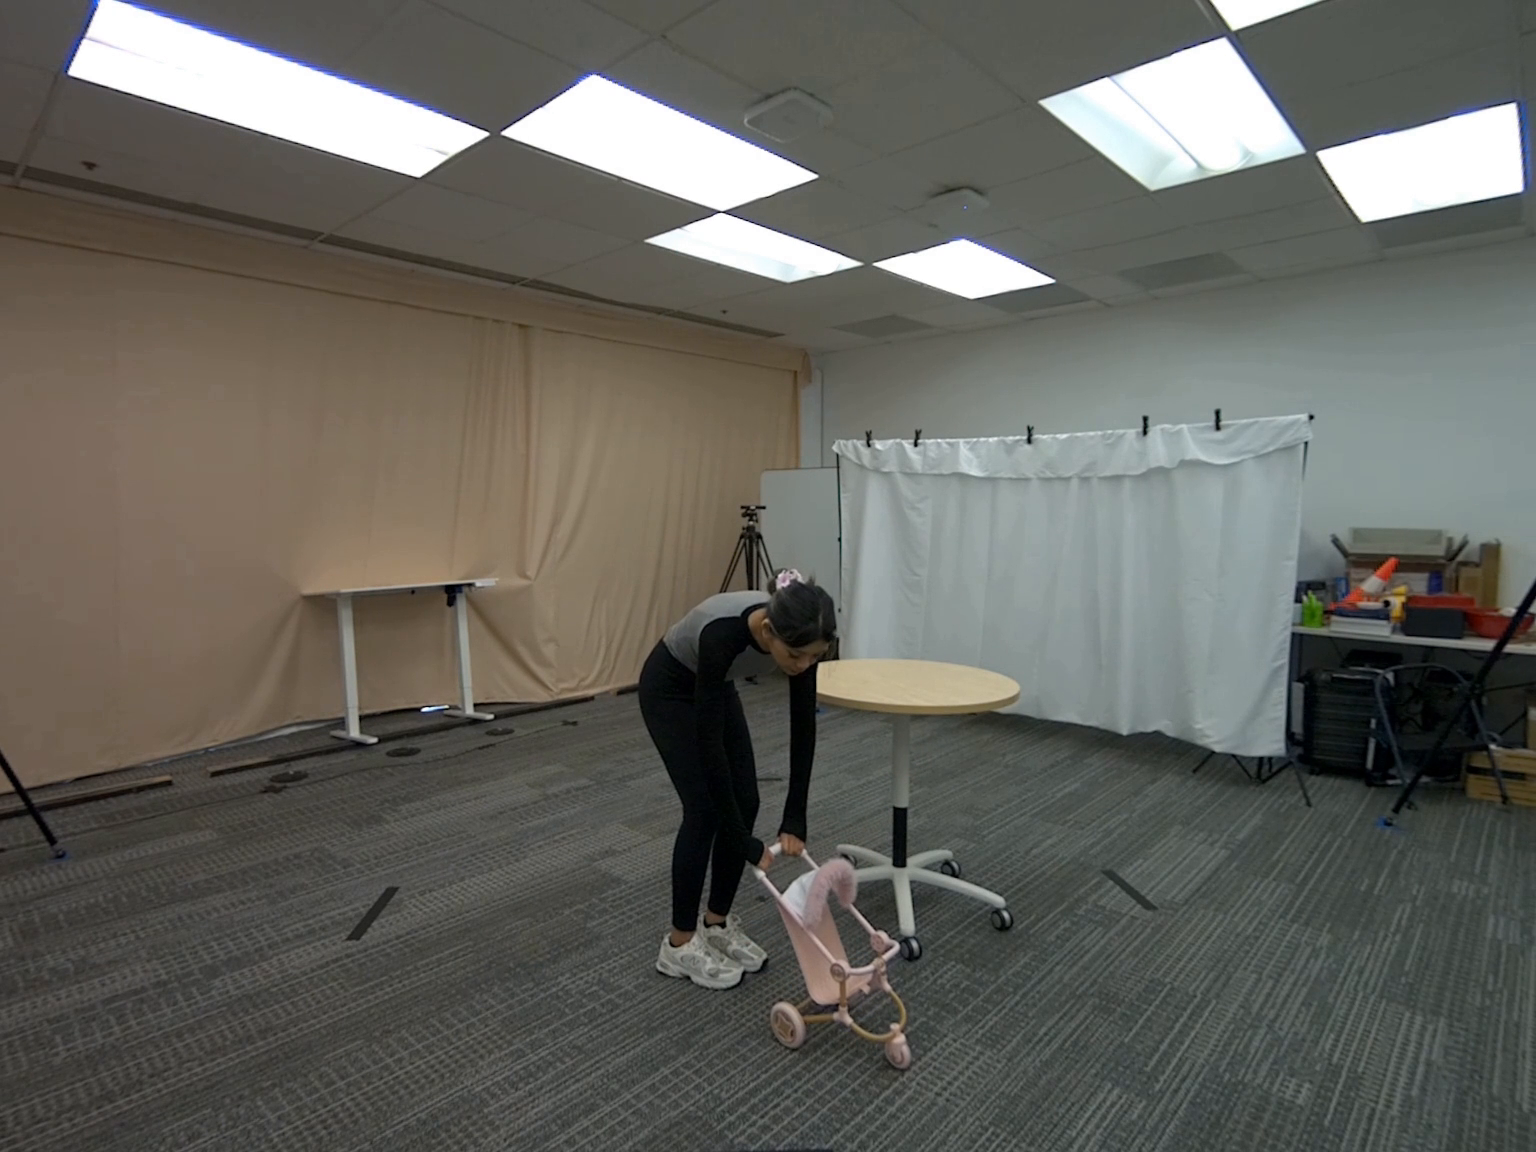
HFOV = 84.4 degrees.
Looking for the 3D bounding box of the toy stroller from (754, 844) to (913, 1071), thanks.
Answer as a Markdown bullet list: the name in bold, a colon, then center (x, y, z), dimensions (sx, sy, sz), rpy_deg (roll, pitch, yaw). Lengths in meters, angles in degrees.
- **toy stroller**: center (0.182, 0.981, 2.204), dimensions (0.273, 0.538, 0.350), rpy_deg (-4, -9, -45)
